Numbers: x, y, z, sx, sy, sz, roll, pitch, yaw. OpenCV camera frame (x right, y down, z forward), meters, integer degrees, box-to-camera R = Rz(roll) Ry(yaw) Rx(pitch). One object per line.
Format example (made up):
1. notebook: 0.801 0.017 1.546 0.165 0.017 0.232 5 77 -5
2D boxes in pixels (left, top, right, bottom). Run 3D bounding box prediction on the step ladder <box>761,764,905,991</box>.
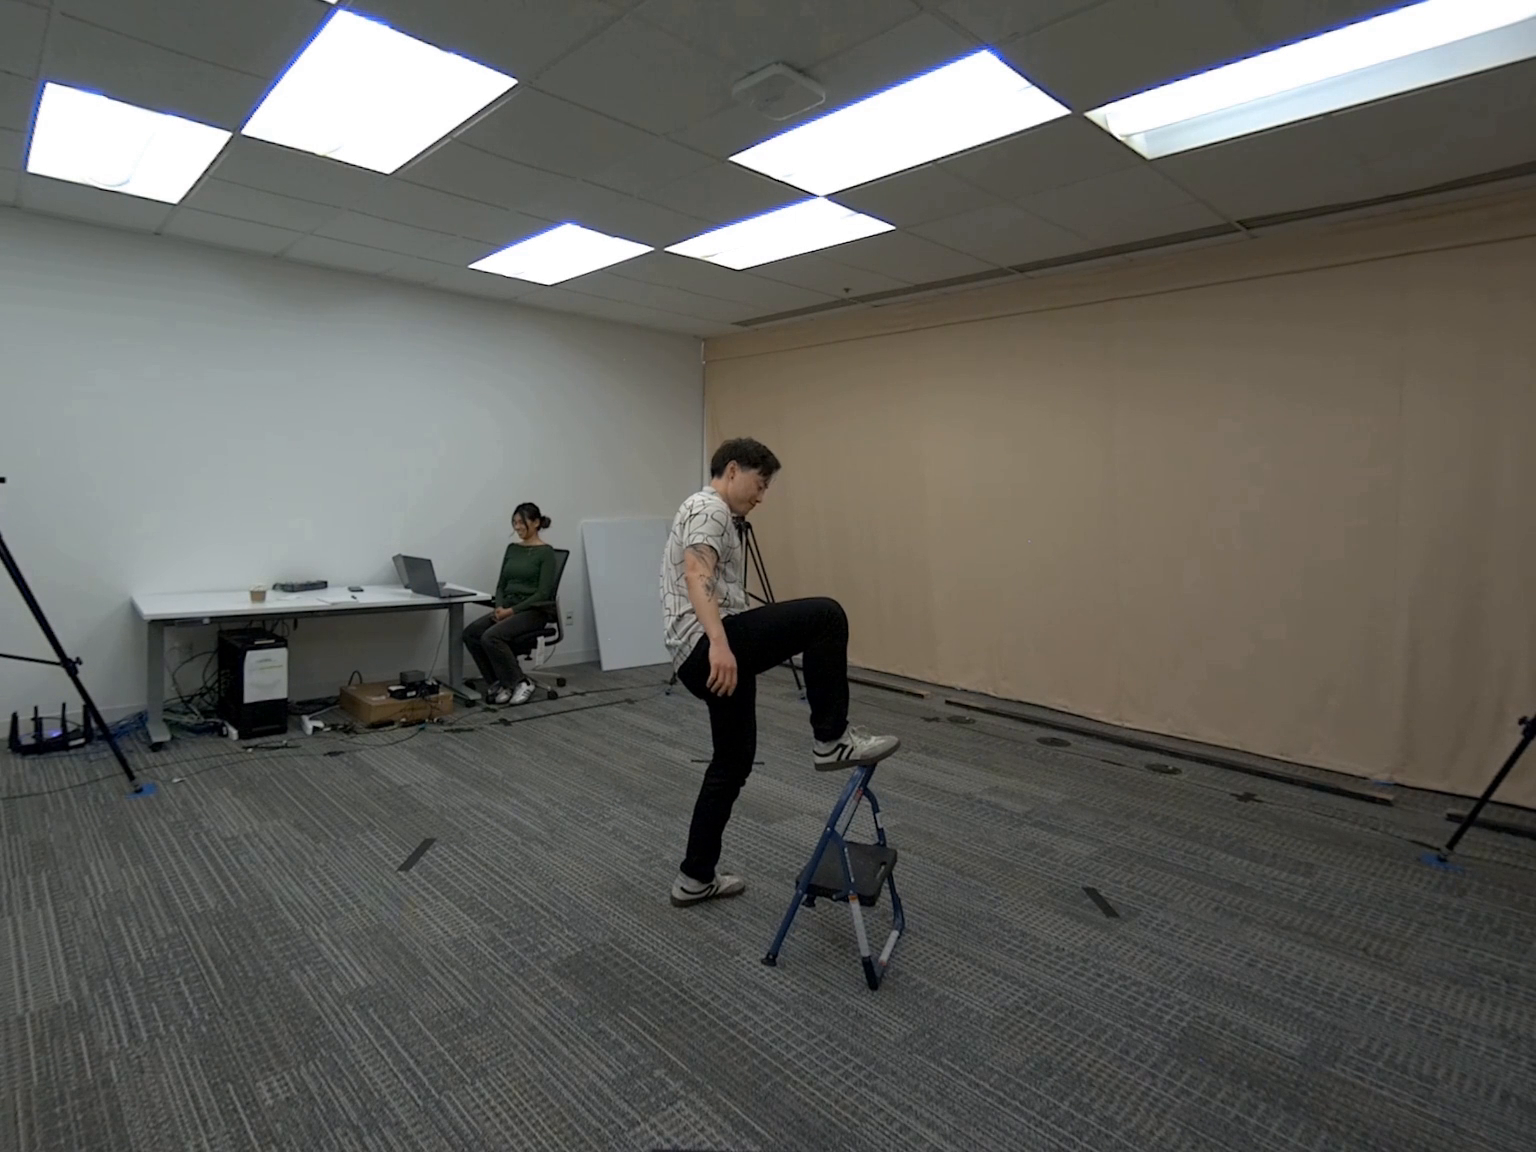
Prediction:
1. step ladder: 0.223 0.854 2.616 0.355 0.604 0.425 3 5 20
